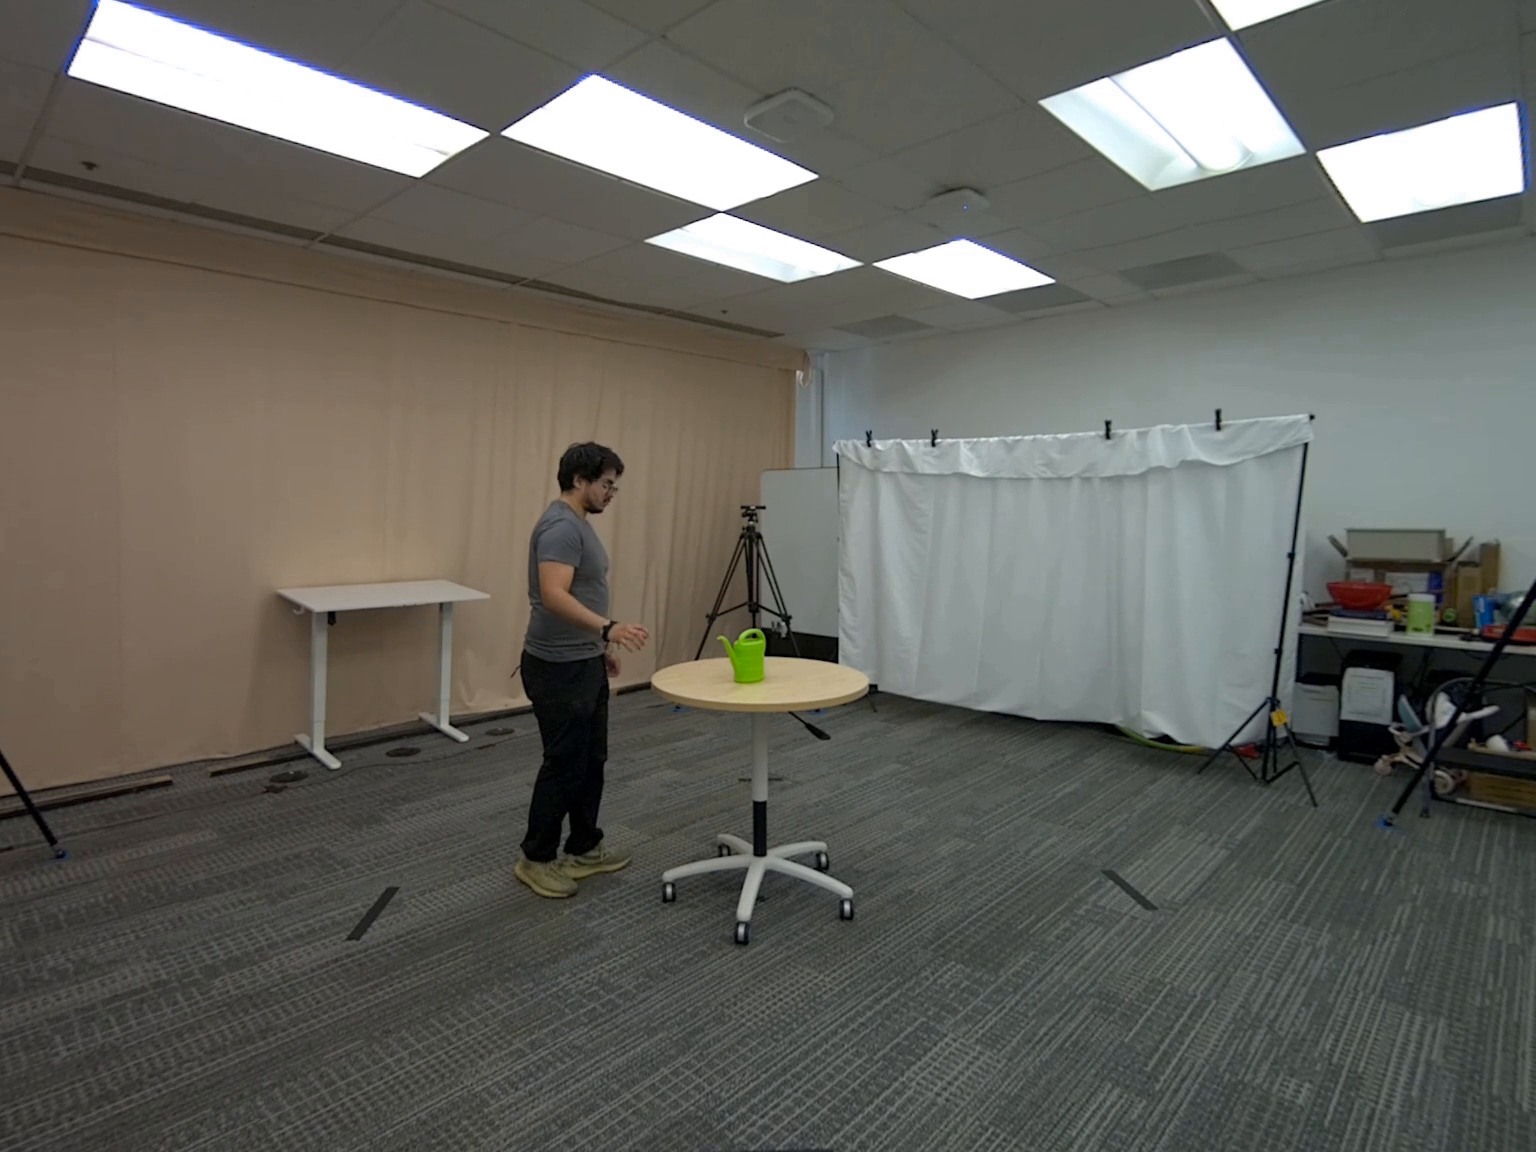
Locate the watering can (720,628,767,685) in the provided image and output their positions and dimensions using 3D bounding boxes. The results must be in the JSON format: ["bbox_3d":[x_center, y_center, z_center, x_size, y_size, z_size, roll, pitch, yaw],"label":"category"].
[{"bbox_3d":[-0.092,0.279,2.909,0.270,0.176,0.101,-4,6,-40],"label":"watering can"}]
